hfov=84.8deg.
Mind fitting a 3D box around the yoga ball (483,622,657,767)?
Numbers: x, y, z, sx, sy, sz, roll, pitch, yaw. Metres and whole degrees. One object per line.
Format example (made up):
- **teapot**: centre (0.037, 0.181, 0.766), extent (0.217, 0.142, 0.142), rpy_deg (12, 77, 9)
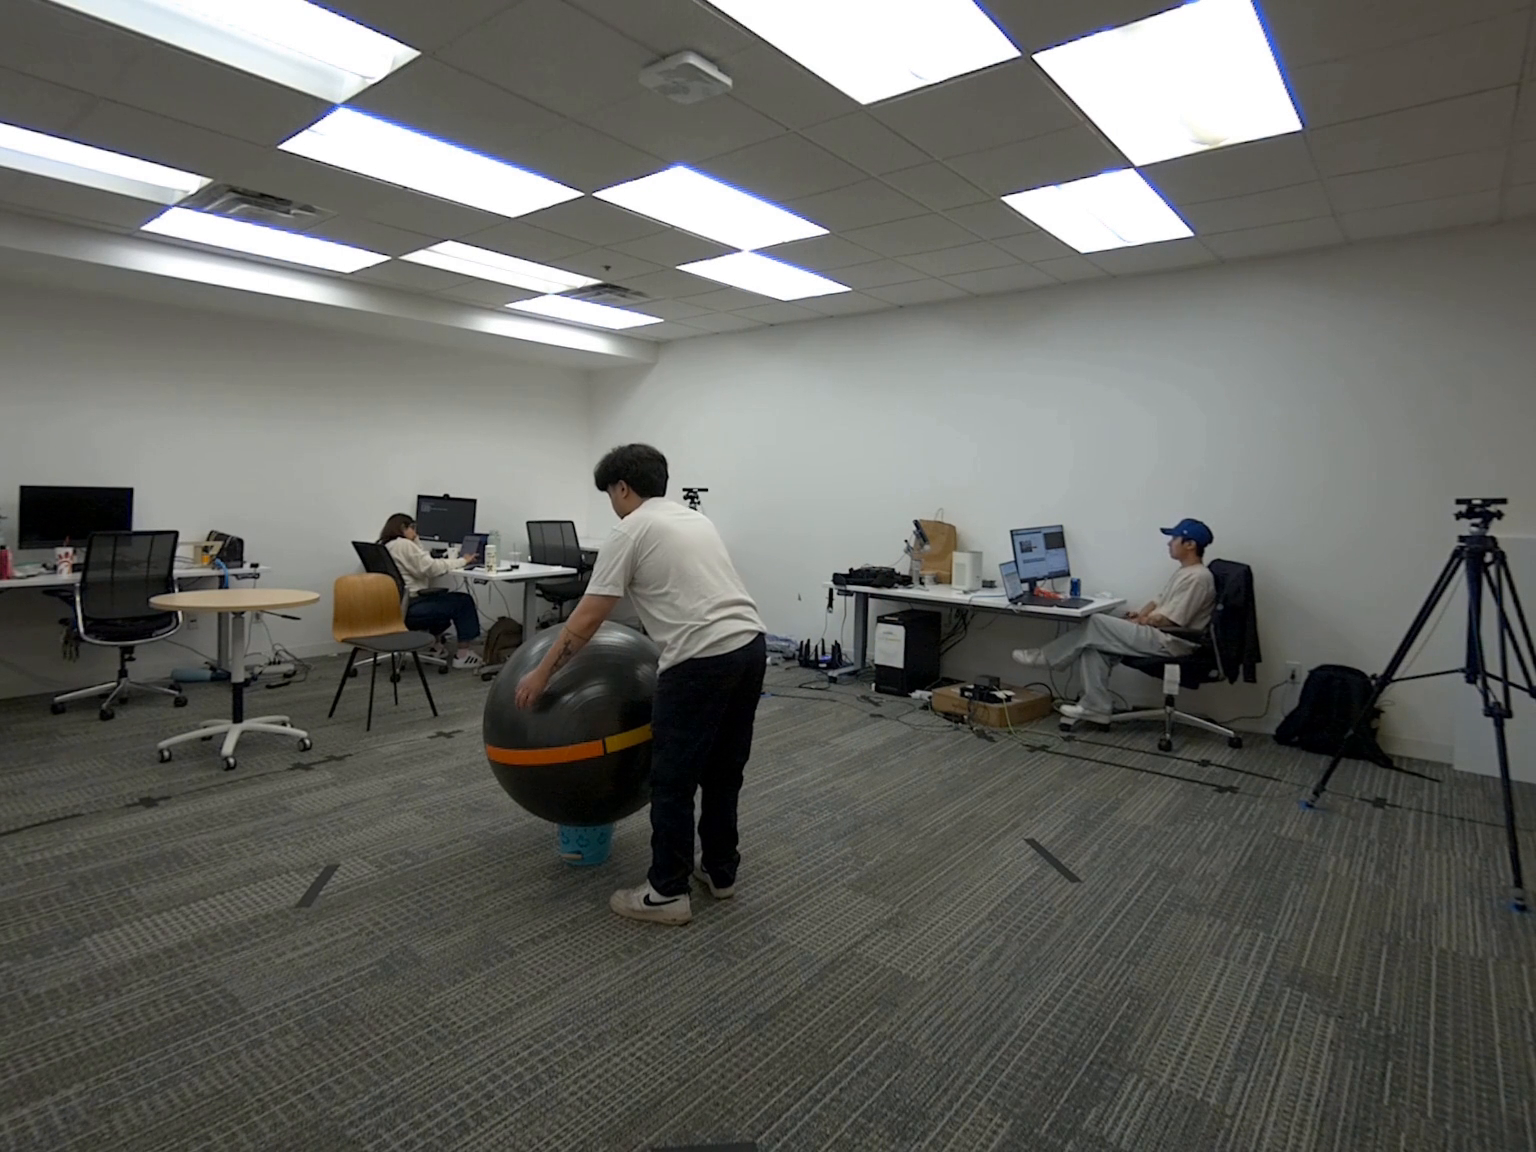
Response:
- **yoga ball**: centre (-0.691, 0.546, 3.194), extent (0.757, 0.755, 0.762), rpy_deg (1, 4, -2)
